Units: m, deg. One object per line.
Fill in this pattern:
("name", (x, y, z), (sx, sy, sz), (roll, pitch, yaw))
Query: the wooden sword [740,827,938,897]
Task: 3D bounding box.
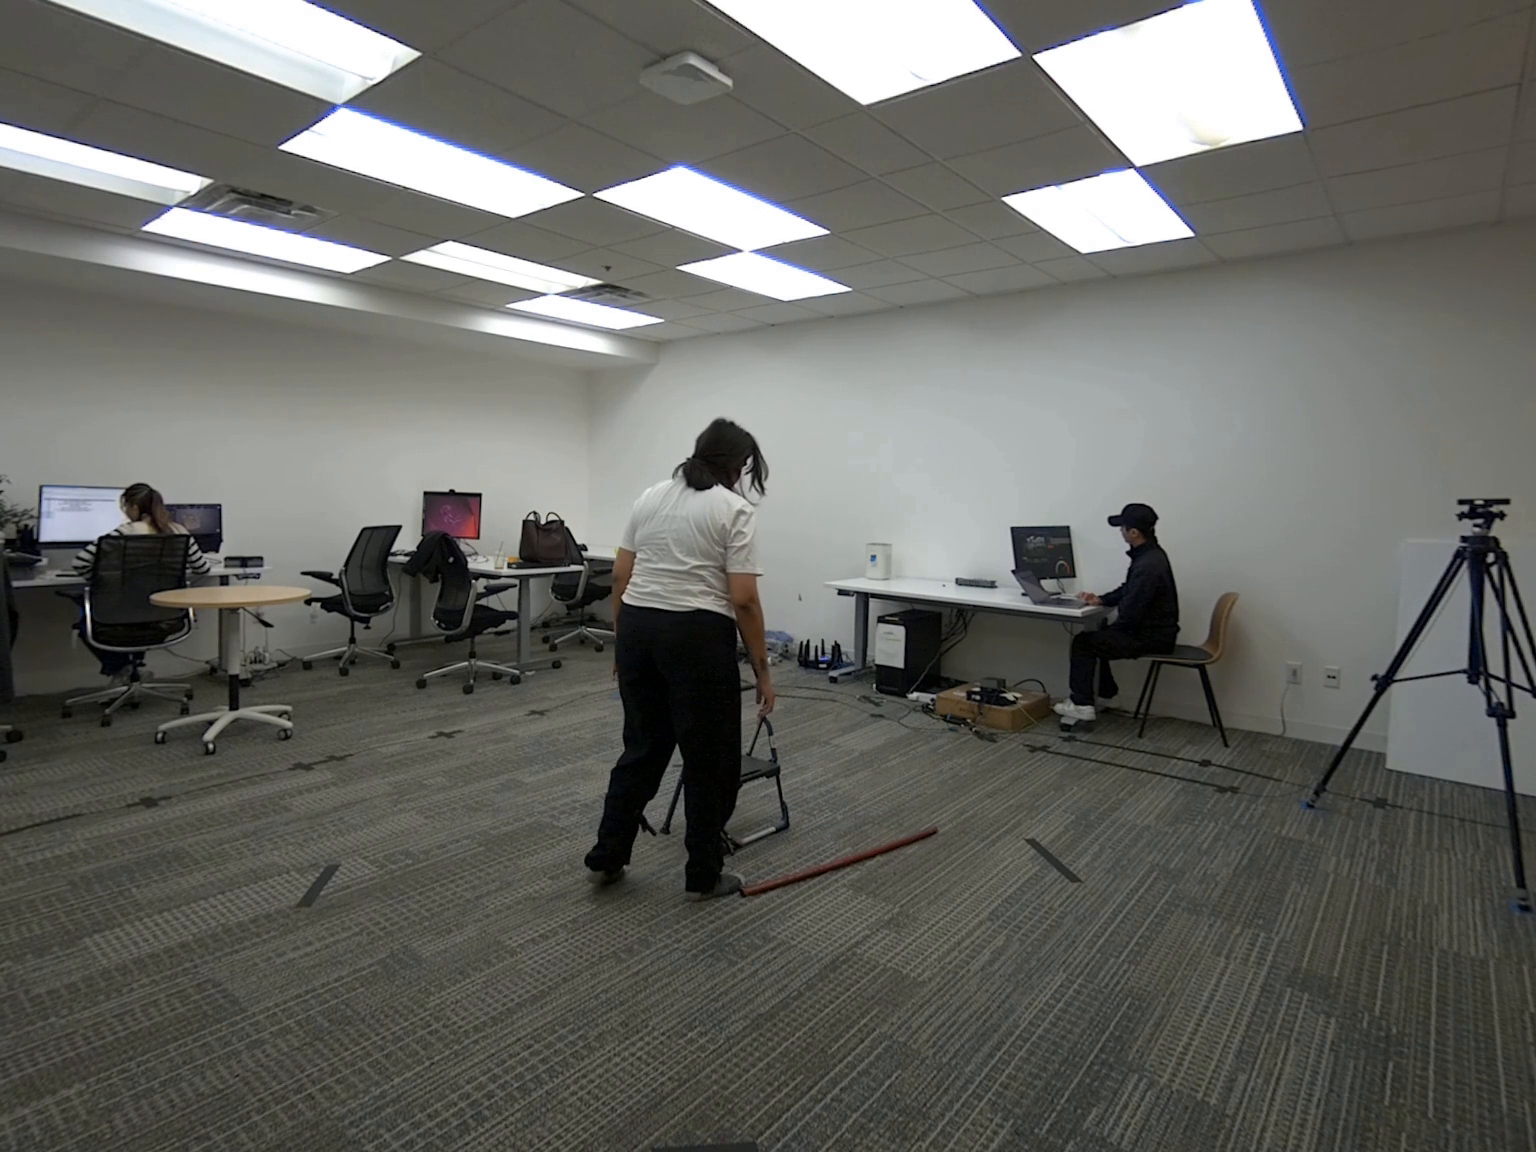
("wooden sword", (0.296, 1.053, 3.203), (0.994, 0.024, 0.053), (-1, 35, -36))
